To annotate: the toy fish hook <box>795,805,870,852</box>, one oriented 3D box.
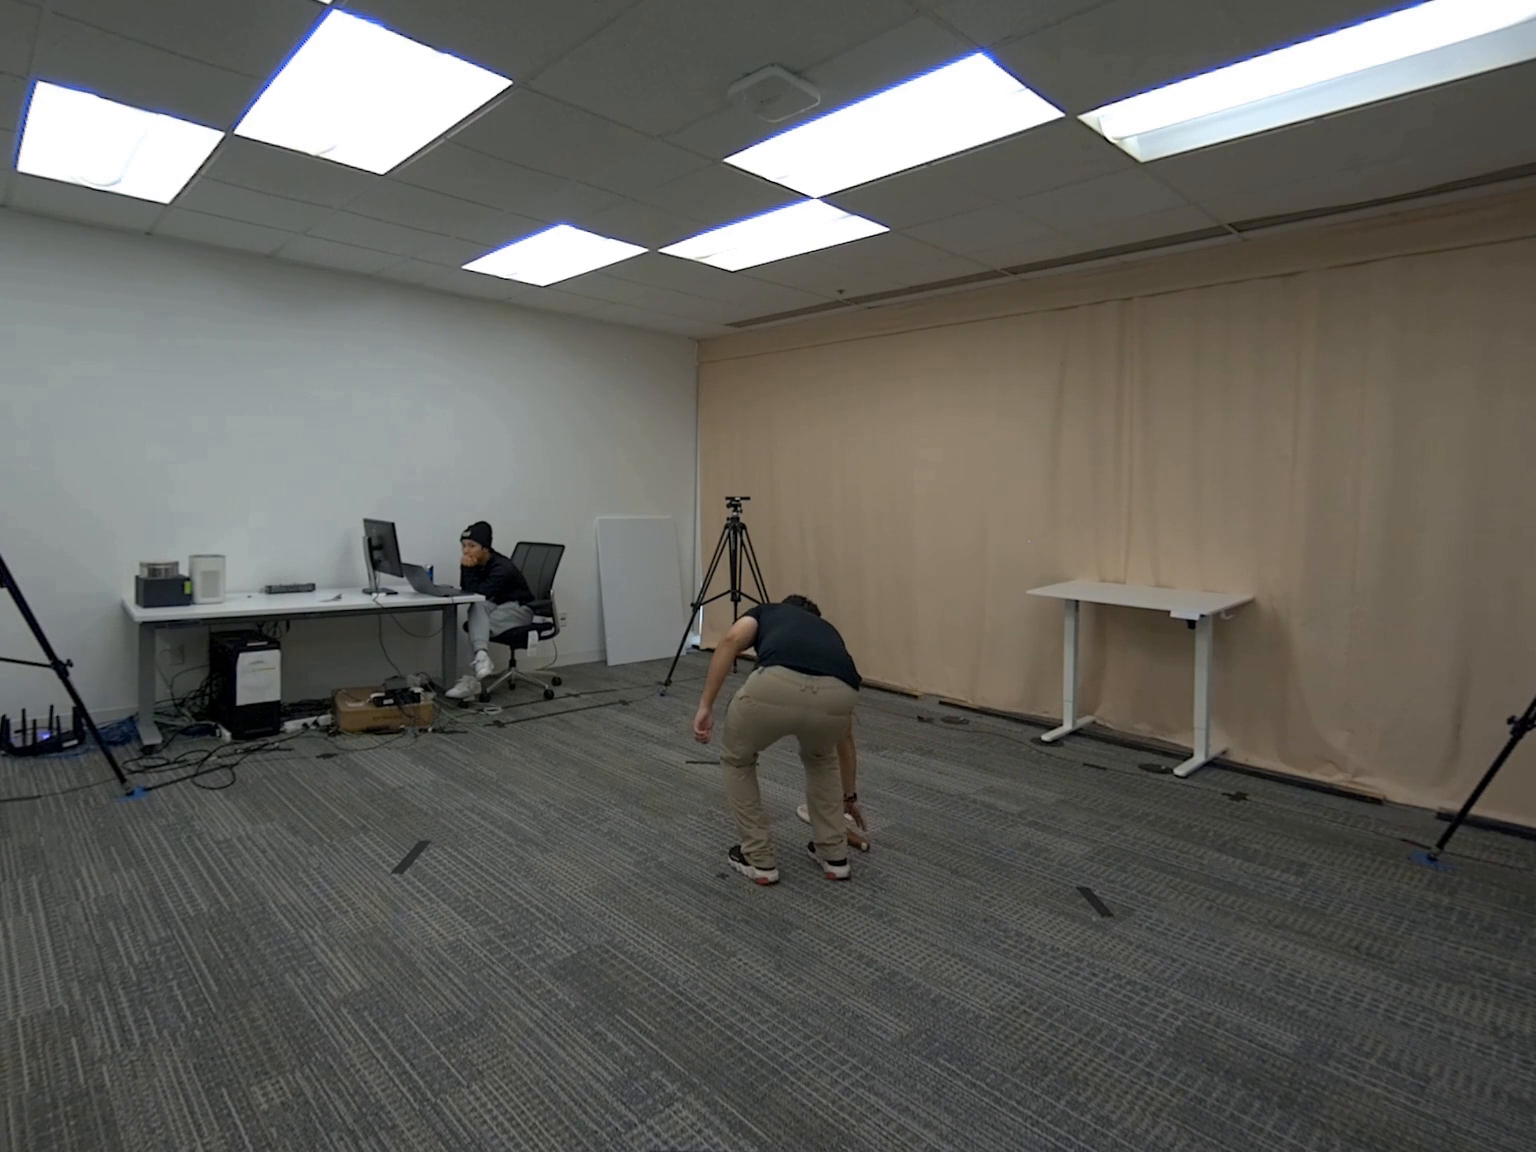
[{"bbox_3d":[0.306,1.054,3.580,0.220,0.048,0.518,-3,7,-28],"label":"toy fish hook"}]
